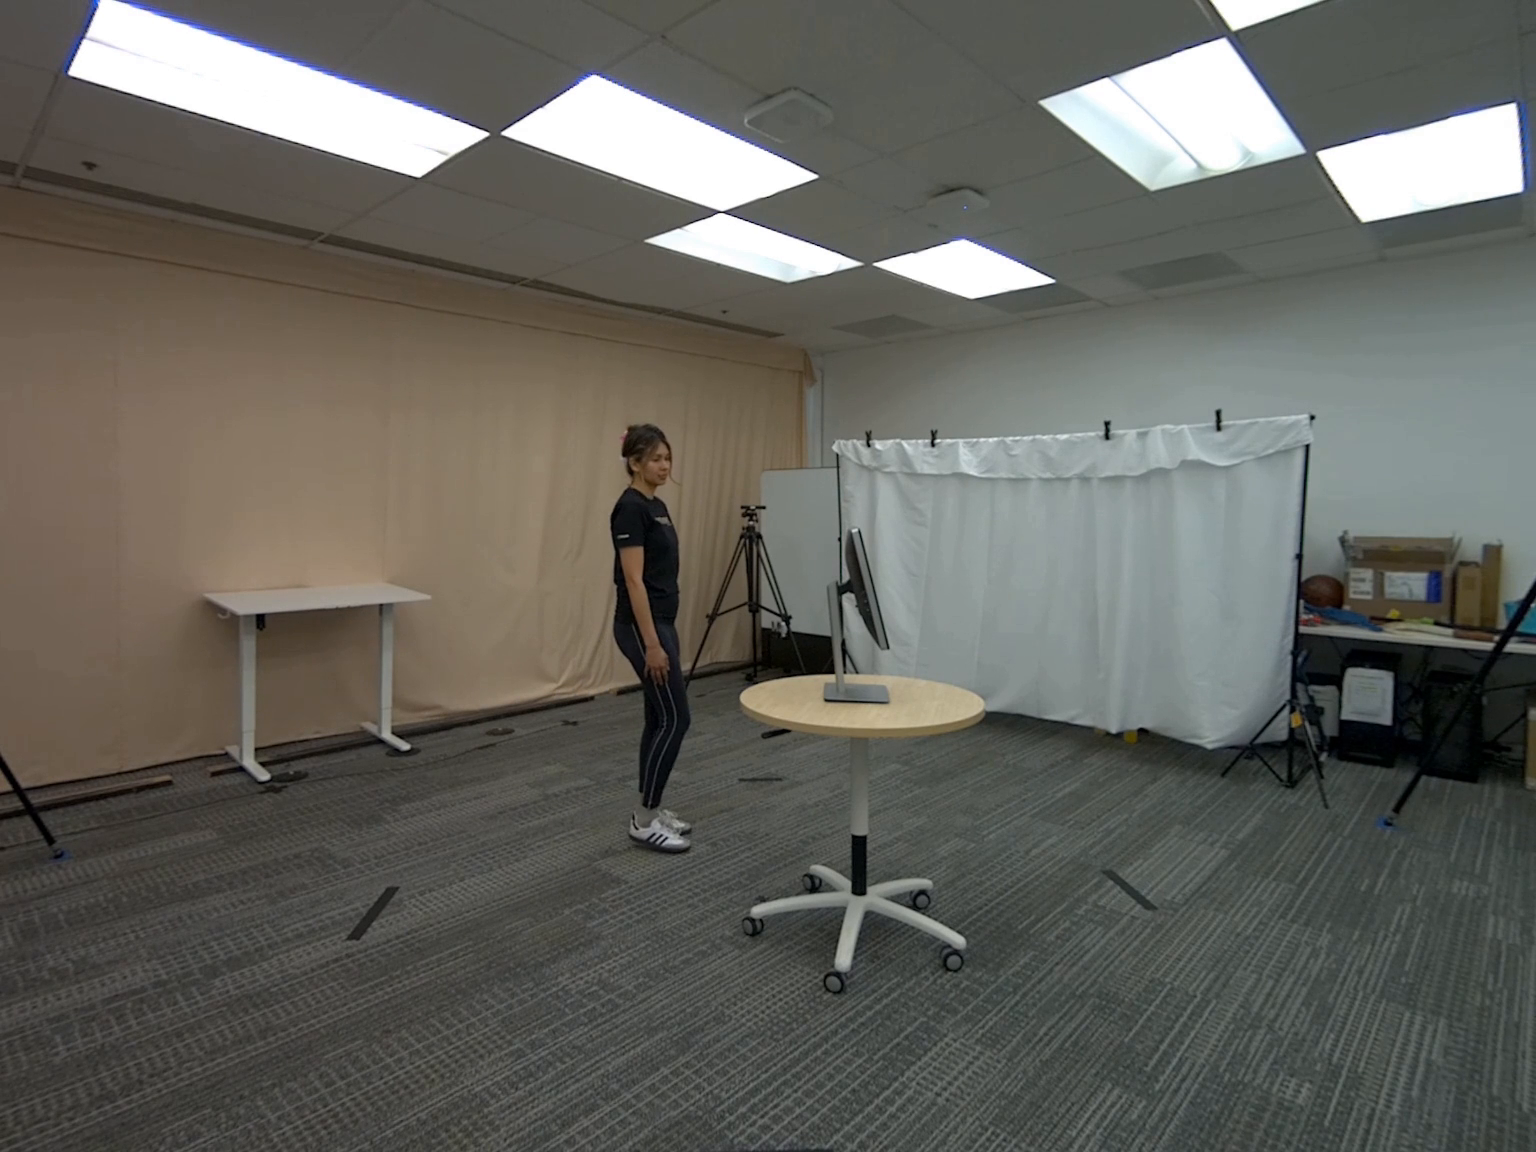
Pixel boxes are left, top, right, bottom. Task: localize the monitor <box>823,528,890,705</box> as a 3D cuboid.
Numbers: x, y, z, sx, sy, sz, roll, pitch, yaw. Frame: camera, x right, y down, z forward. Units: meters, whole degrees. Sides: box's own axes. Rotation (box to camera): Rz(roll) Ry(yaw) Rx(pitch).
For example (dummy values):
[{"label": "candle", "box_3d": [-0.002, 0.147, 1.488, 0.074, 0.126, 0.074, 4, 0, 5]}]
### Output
[{"label": "monitor", "box_3d": [0.286, 0.122, 2.722, 0.188, 0.522, 0.537, 0, 3, 3]}]
